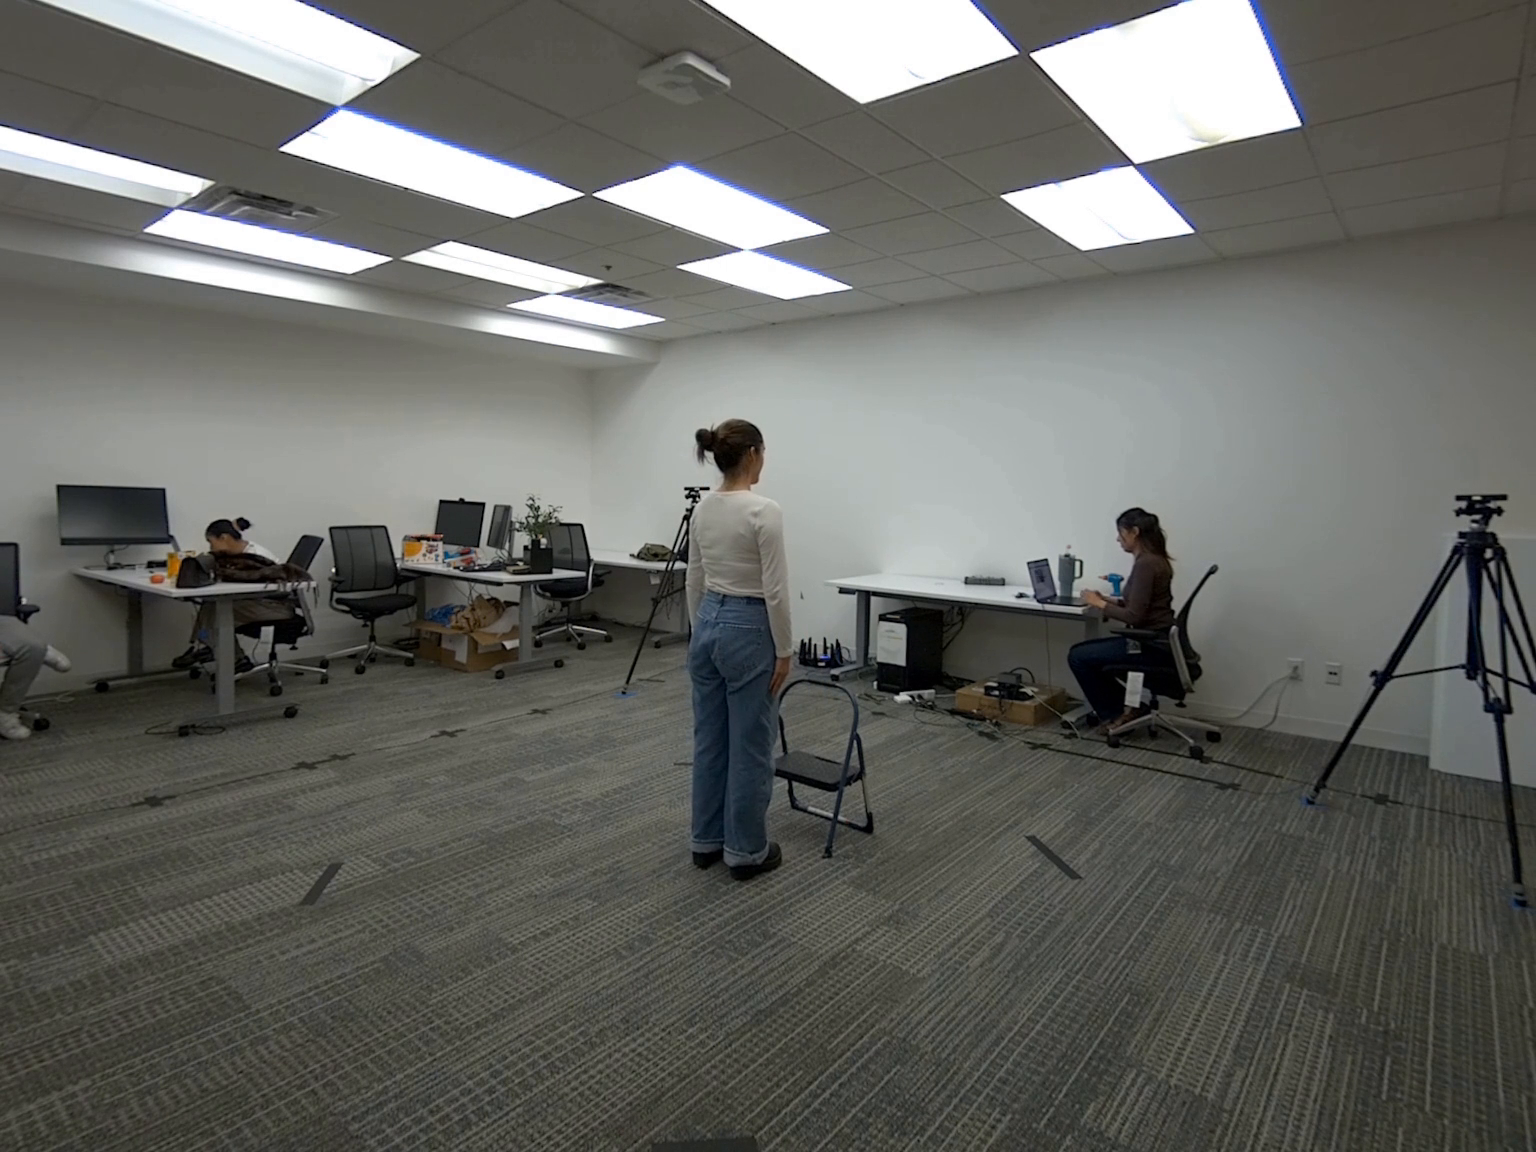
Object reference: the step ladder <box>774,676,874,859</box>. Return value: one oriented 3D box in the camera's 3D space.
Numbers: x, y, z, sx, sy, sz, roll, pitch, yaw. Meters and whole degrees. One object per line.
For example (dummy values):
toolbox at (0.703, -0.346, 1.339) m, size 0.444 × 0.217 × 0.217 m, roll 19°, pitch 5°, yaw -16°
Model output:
step ladder at (0.166, 0.734, 3.461) m, size 0.445 × 0.604 × 0.339 m, roll 4°, pitch 5°, yaw 39°
